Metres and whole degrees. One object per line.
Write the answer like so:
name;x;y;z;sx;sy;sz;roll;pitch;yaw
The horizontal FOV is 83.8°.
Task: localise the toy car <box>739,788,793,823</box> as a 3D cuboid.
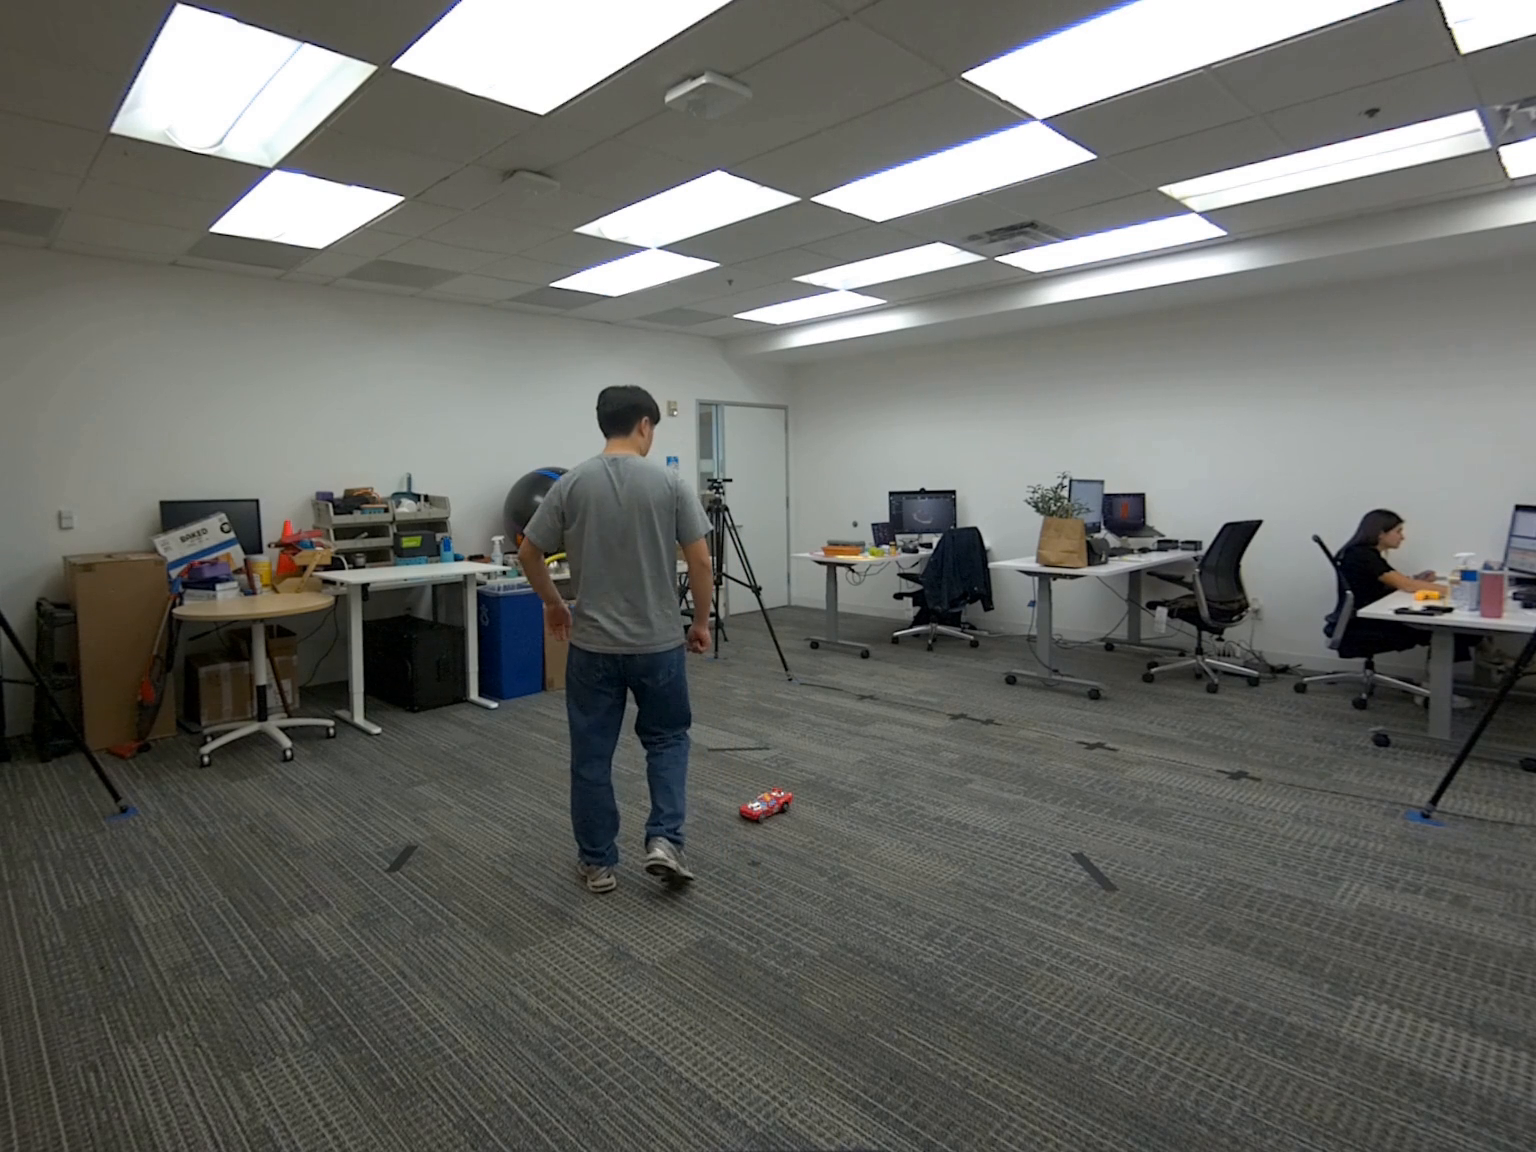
toy car;0.002;0.958;3.572;0.134;0.082;0.250;5;19;43
